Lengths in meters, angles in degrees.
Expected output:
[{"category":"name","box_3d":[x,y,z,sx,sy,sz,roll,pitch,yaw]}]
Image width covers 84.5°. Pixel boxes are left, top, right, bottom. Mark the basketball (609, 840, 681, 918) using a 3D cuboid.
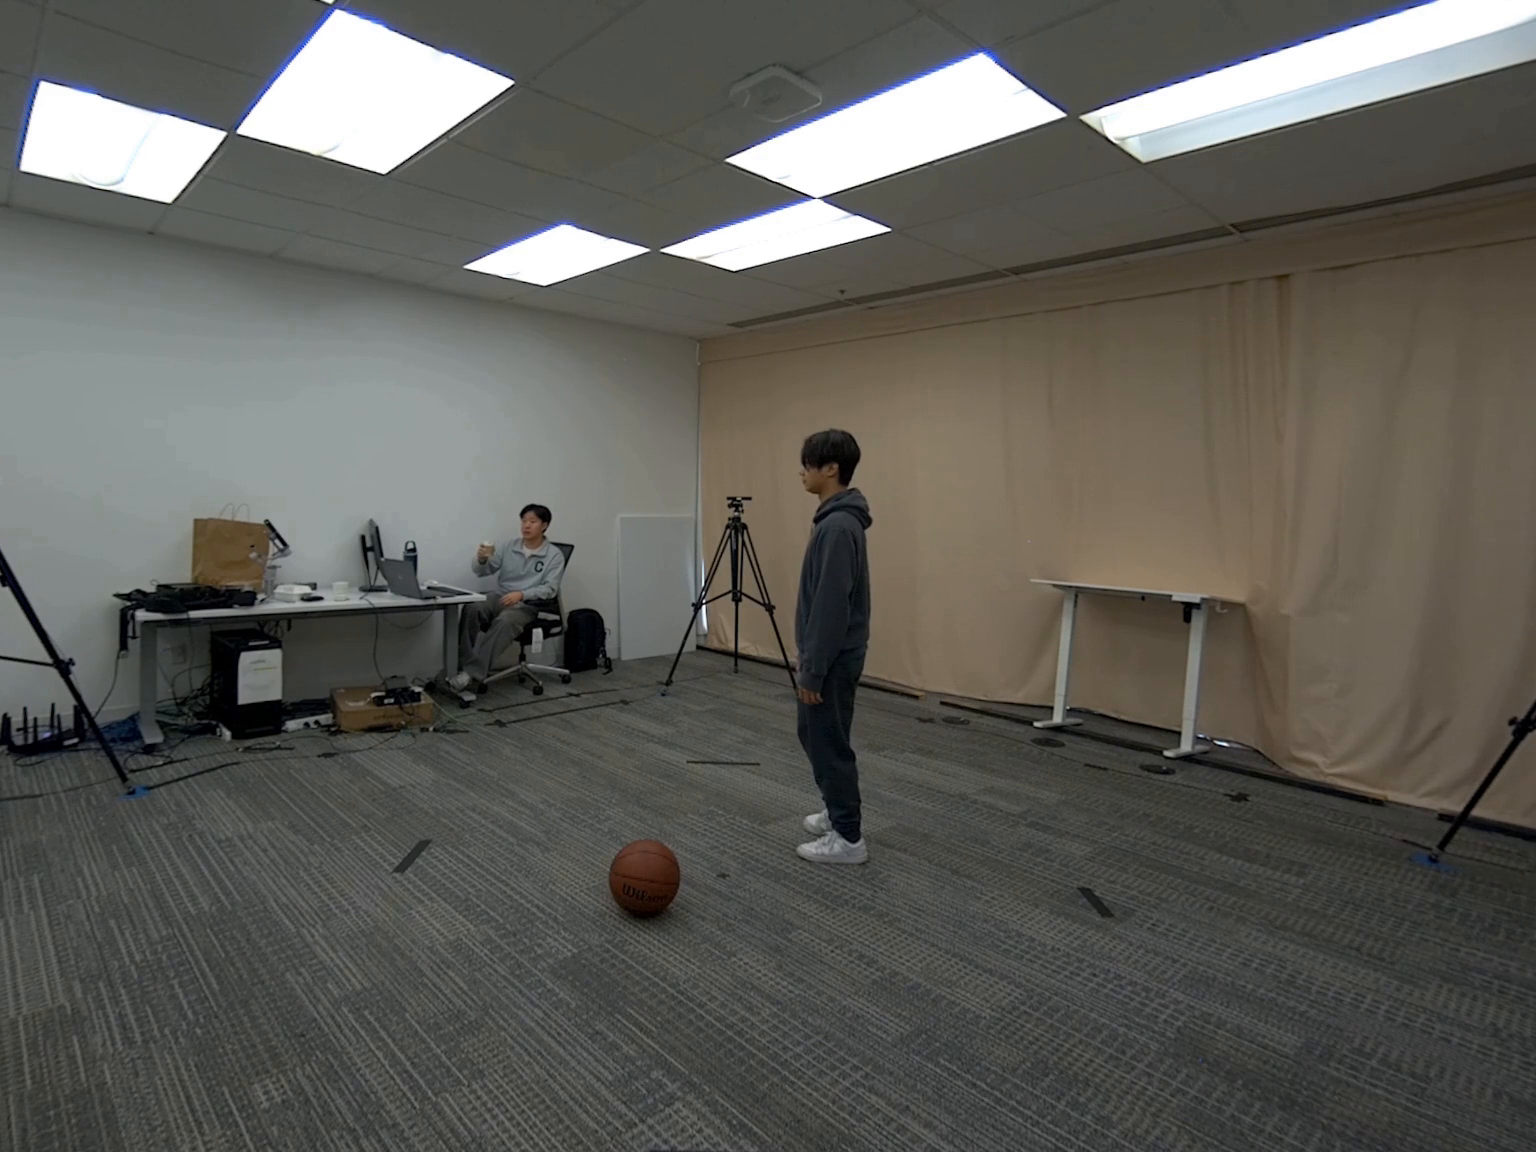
[{"category":"basketball","box_3d":[-0.415,1.006,2.811,0.236,0.235,0.237,1,4,-1]}]
